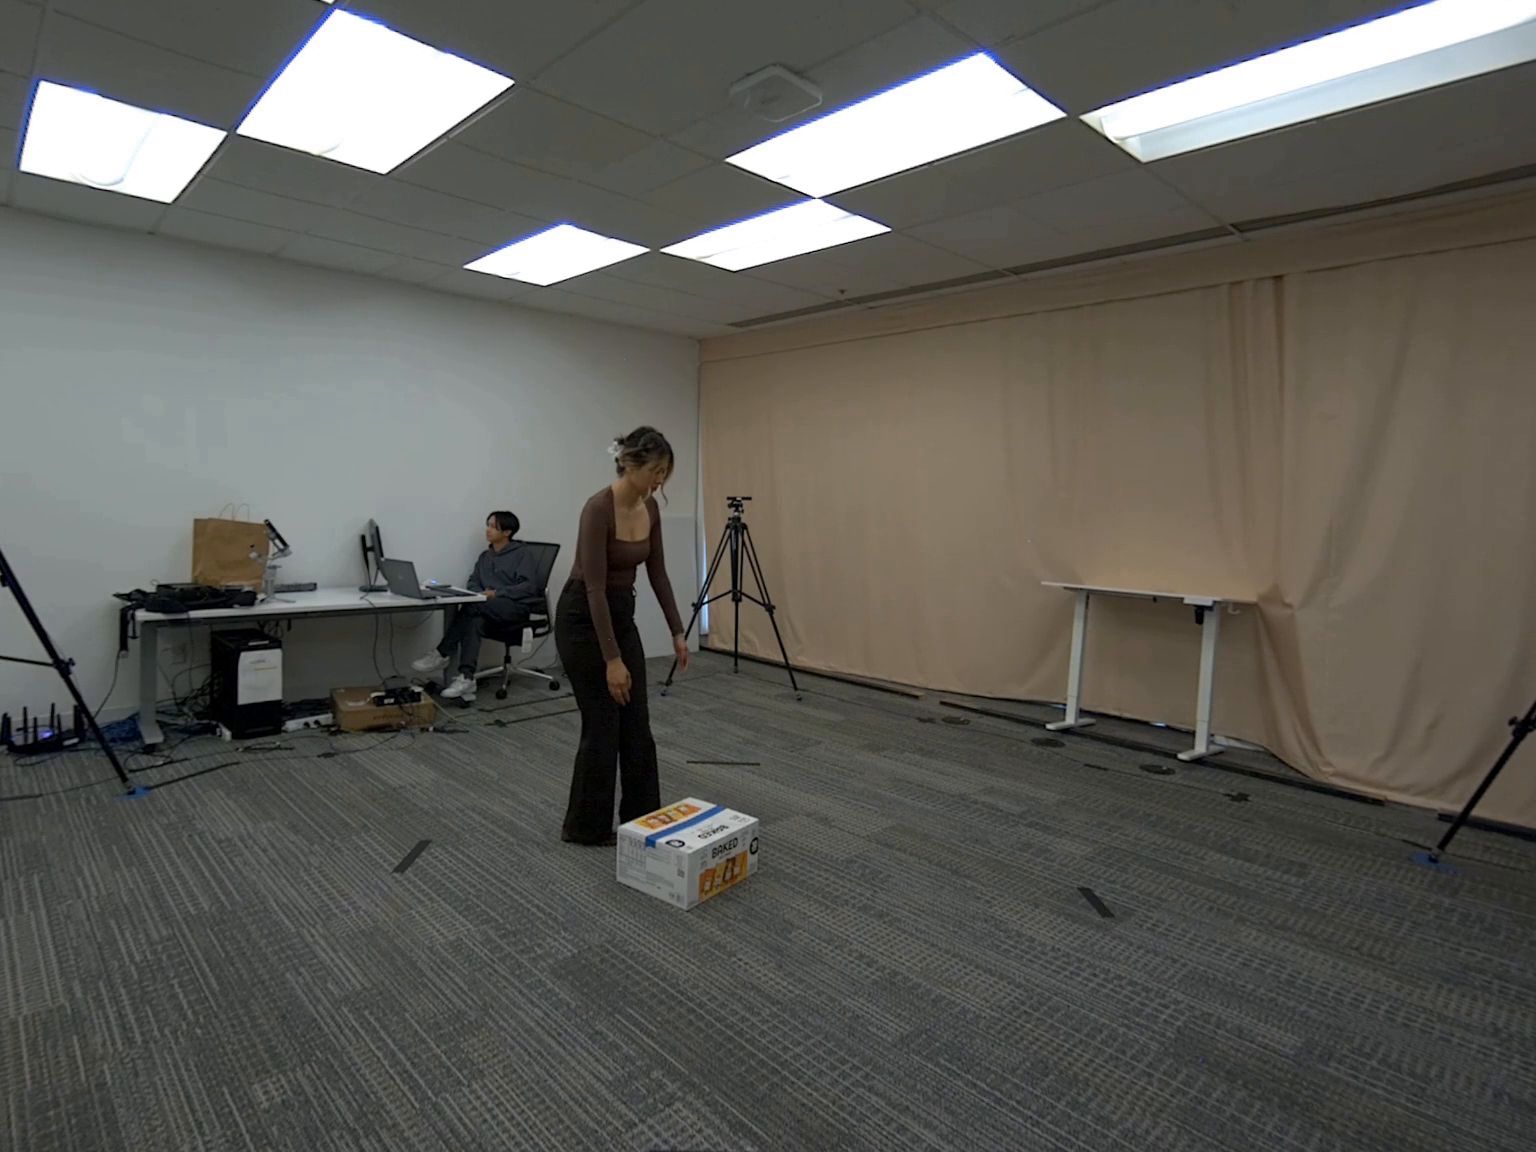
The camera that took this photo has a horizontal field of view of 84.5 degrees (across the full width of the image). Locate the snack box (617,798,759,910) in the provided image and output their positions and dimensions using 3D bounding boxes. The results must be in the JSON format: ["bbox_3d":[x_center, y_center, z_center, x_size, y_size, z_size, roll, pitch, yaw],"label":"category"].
[{"bbox_3d":[-0.298,1.004,3.076,0.349,0.205,0.396,5,6,37],"label":"snack box"}]
